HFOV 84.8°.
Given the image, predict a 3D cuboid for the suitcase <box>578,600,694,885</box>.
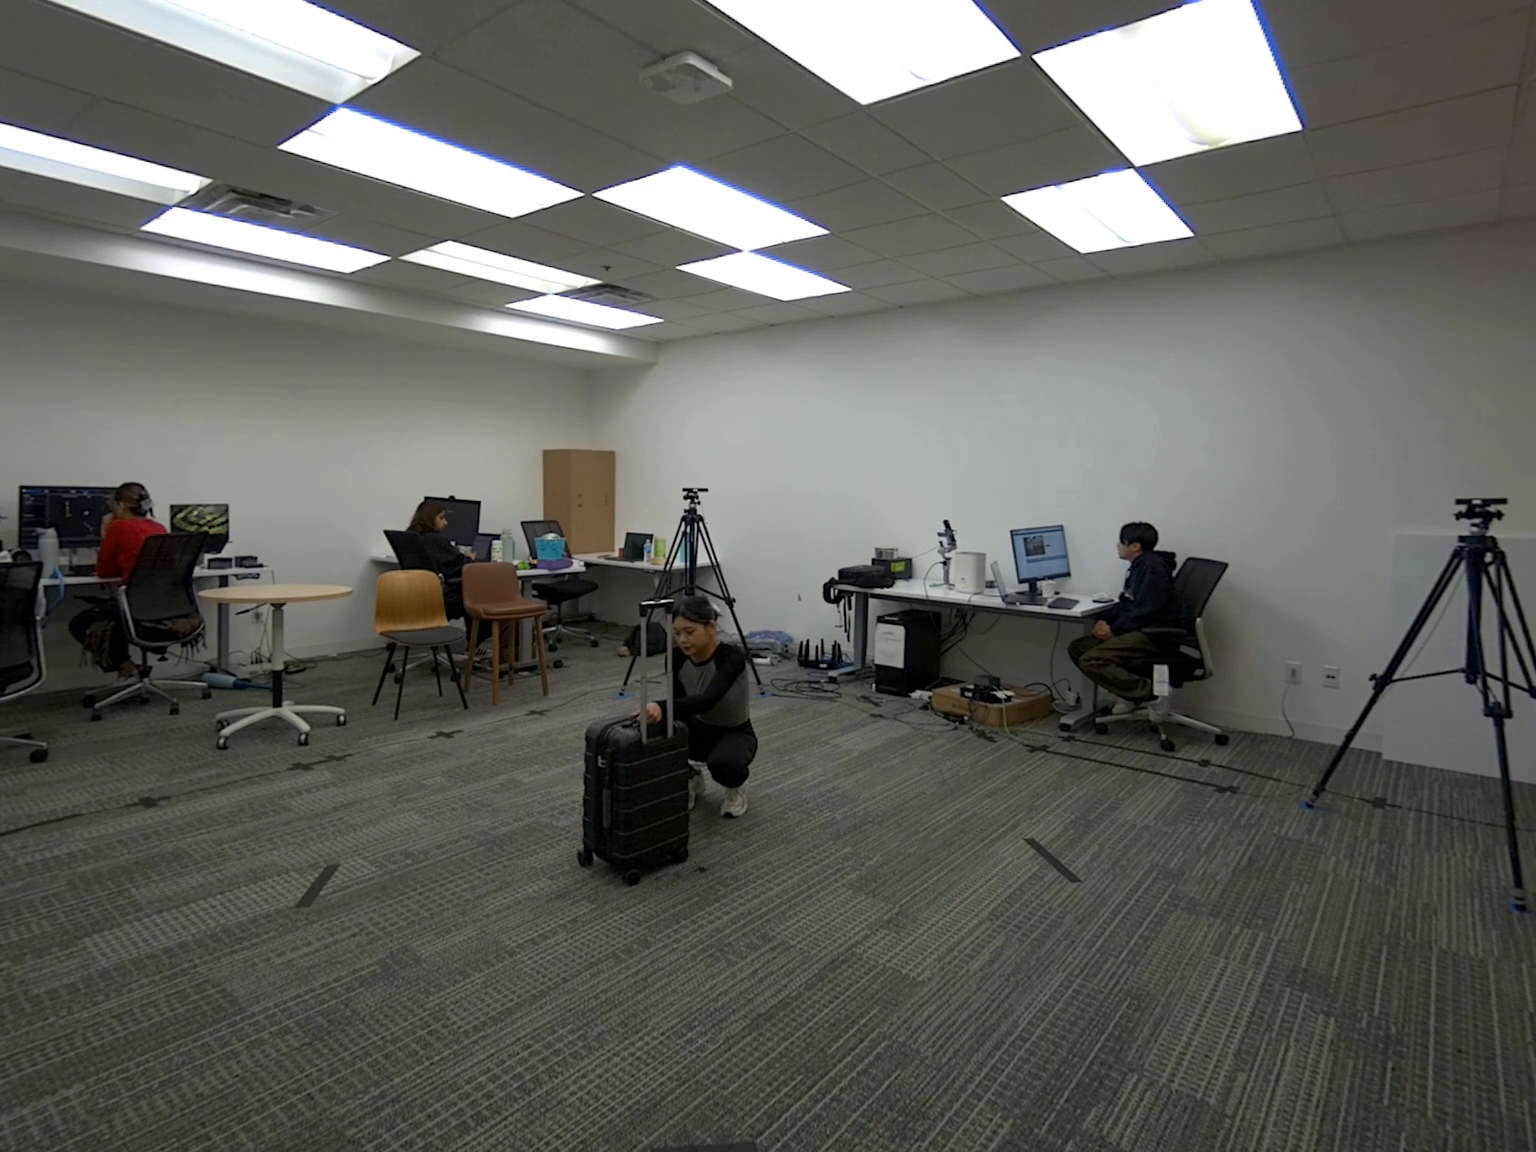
[{"bbox_3d":[-0.502,0.586,3.136,0.265,0.978,0.372,0,1,41],"label":"suitcase"}]
